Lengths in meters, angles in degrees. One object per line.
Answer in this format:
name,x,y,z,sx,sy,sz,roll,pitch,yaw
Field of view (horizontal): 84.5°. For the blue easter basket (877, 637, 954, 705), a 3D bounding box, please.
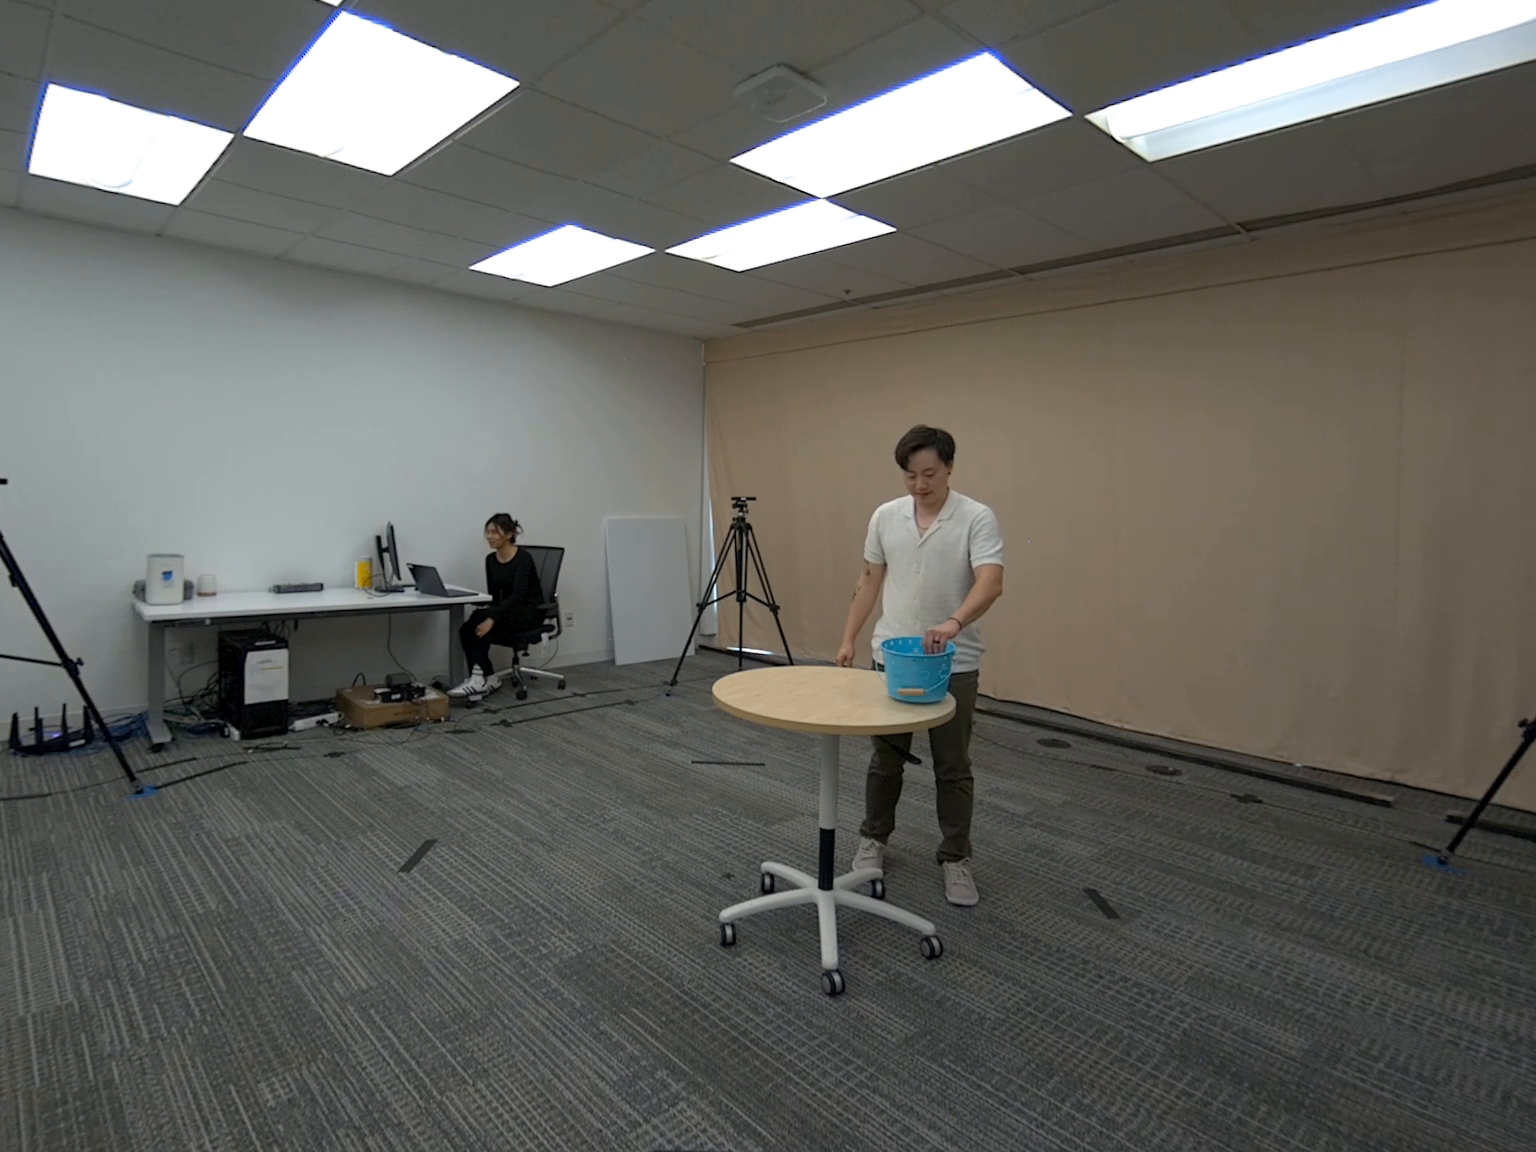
blue easter basket,0.463,0.293,2.608,0.243,0.155,0.245,0,8,-1
